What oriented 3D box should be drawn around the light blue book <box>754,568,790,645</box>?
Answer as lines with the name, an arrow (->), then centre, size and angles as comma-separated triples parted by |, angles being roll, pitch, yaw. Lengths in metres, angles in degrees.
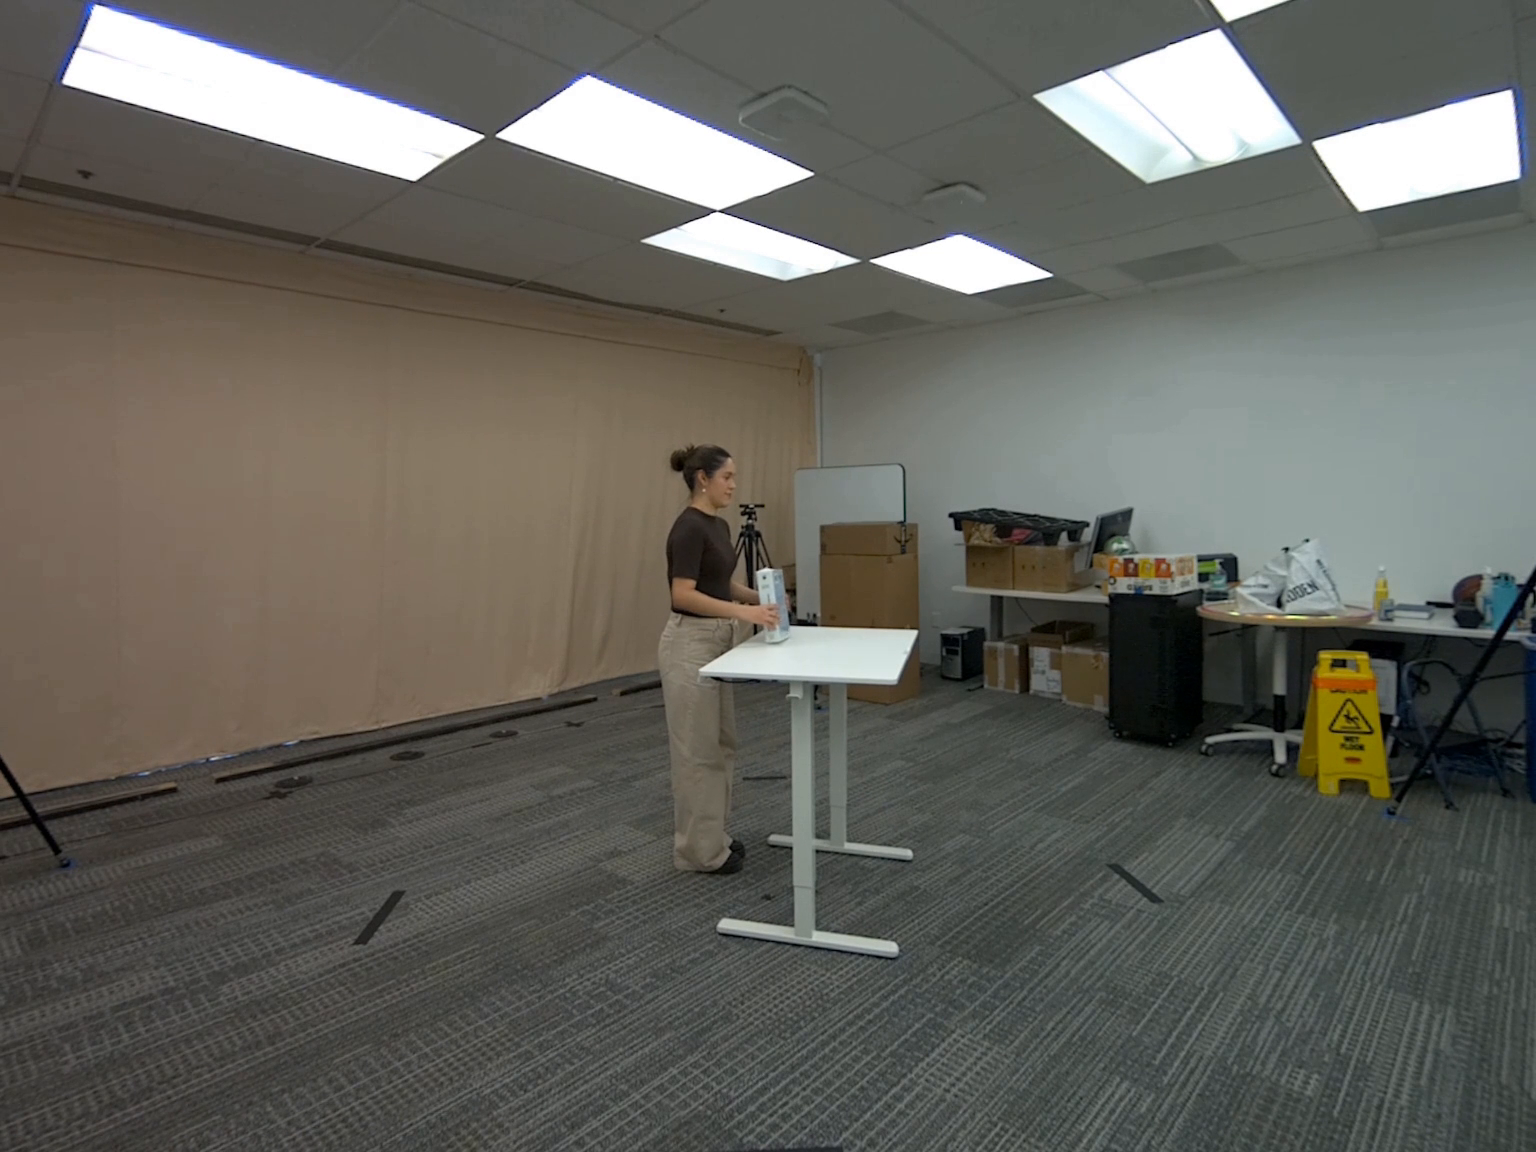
light blue book -> 0.025, 0.100, 3.146 | 0.060, 0.261, 0.188 | -6, 1, 13
